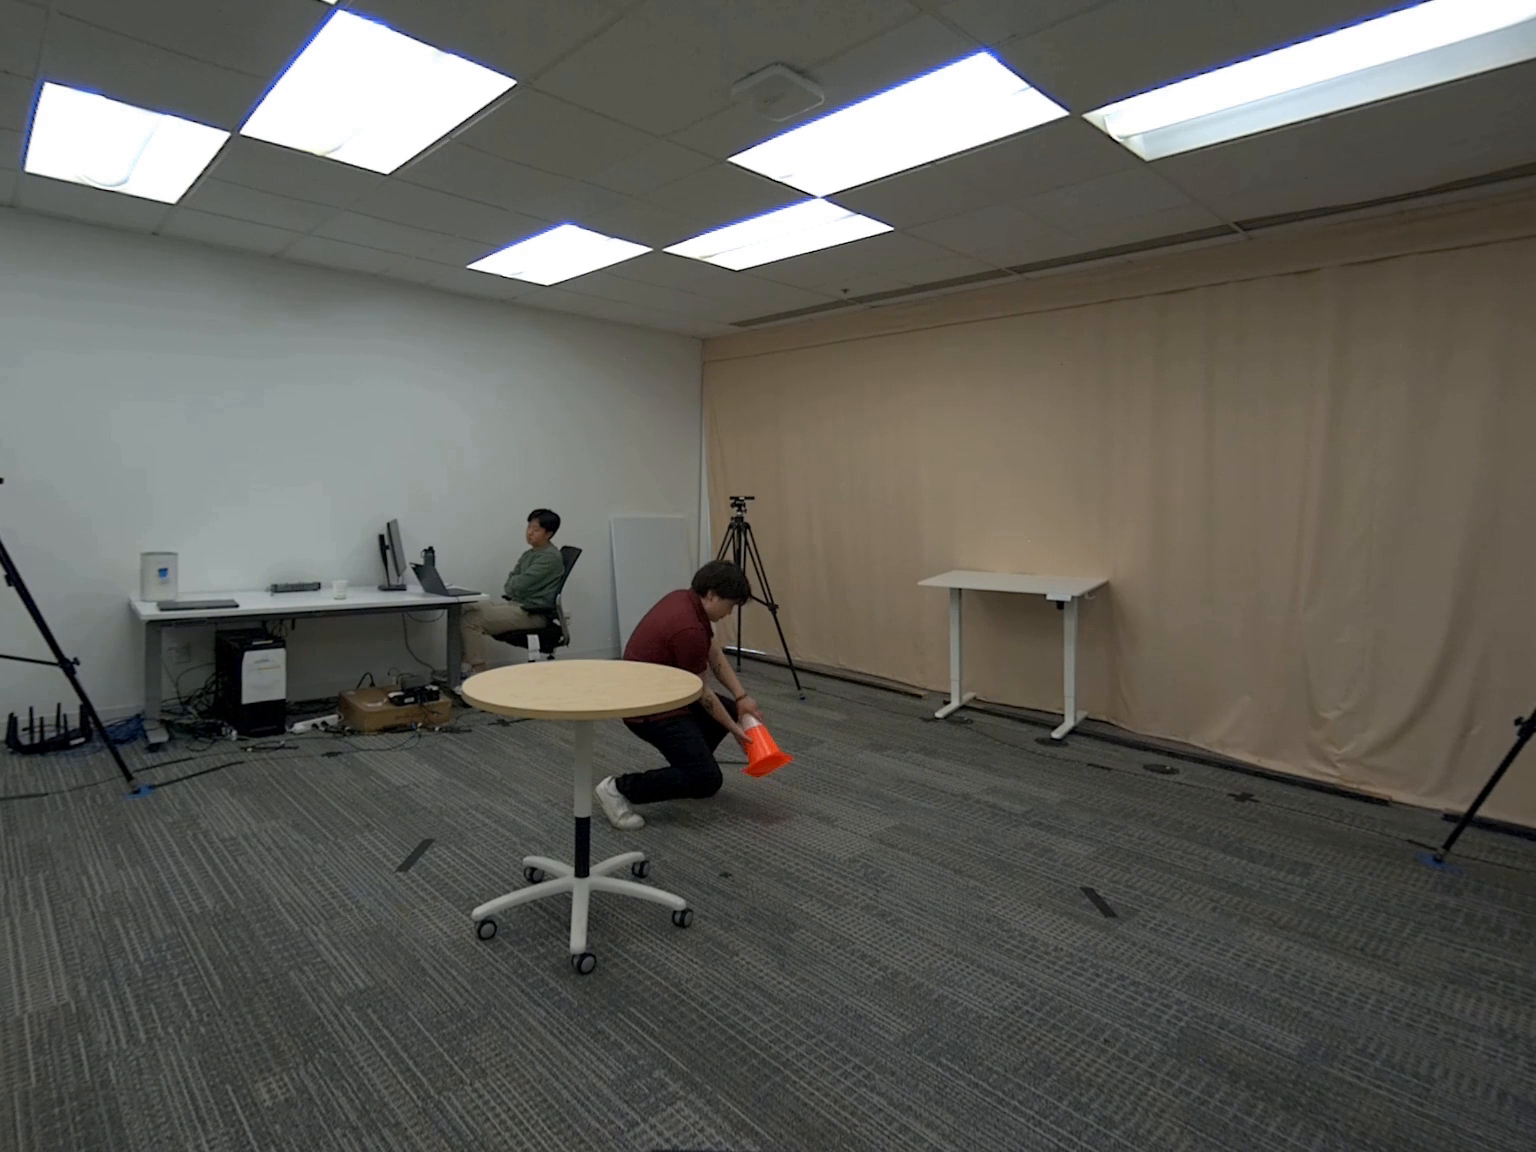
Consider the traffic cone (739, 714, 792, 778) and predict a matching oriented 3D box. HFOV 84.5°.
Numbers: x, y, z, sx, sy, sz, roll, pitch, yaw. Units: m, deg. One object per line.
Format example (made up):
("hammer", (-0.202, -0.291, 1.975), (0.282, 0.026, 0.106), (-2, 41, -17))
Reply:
("traffic cone", (-0.086, 0.684, 3.805), (0.205, 0.394, 0.197), (-33, -34, 10))
